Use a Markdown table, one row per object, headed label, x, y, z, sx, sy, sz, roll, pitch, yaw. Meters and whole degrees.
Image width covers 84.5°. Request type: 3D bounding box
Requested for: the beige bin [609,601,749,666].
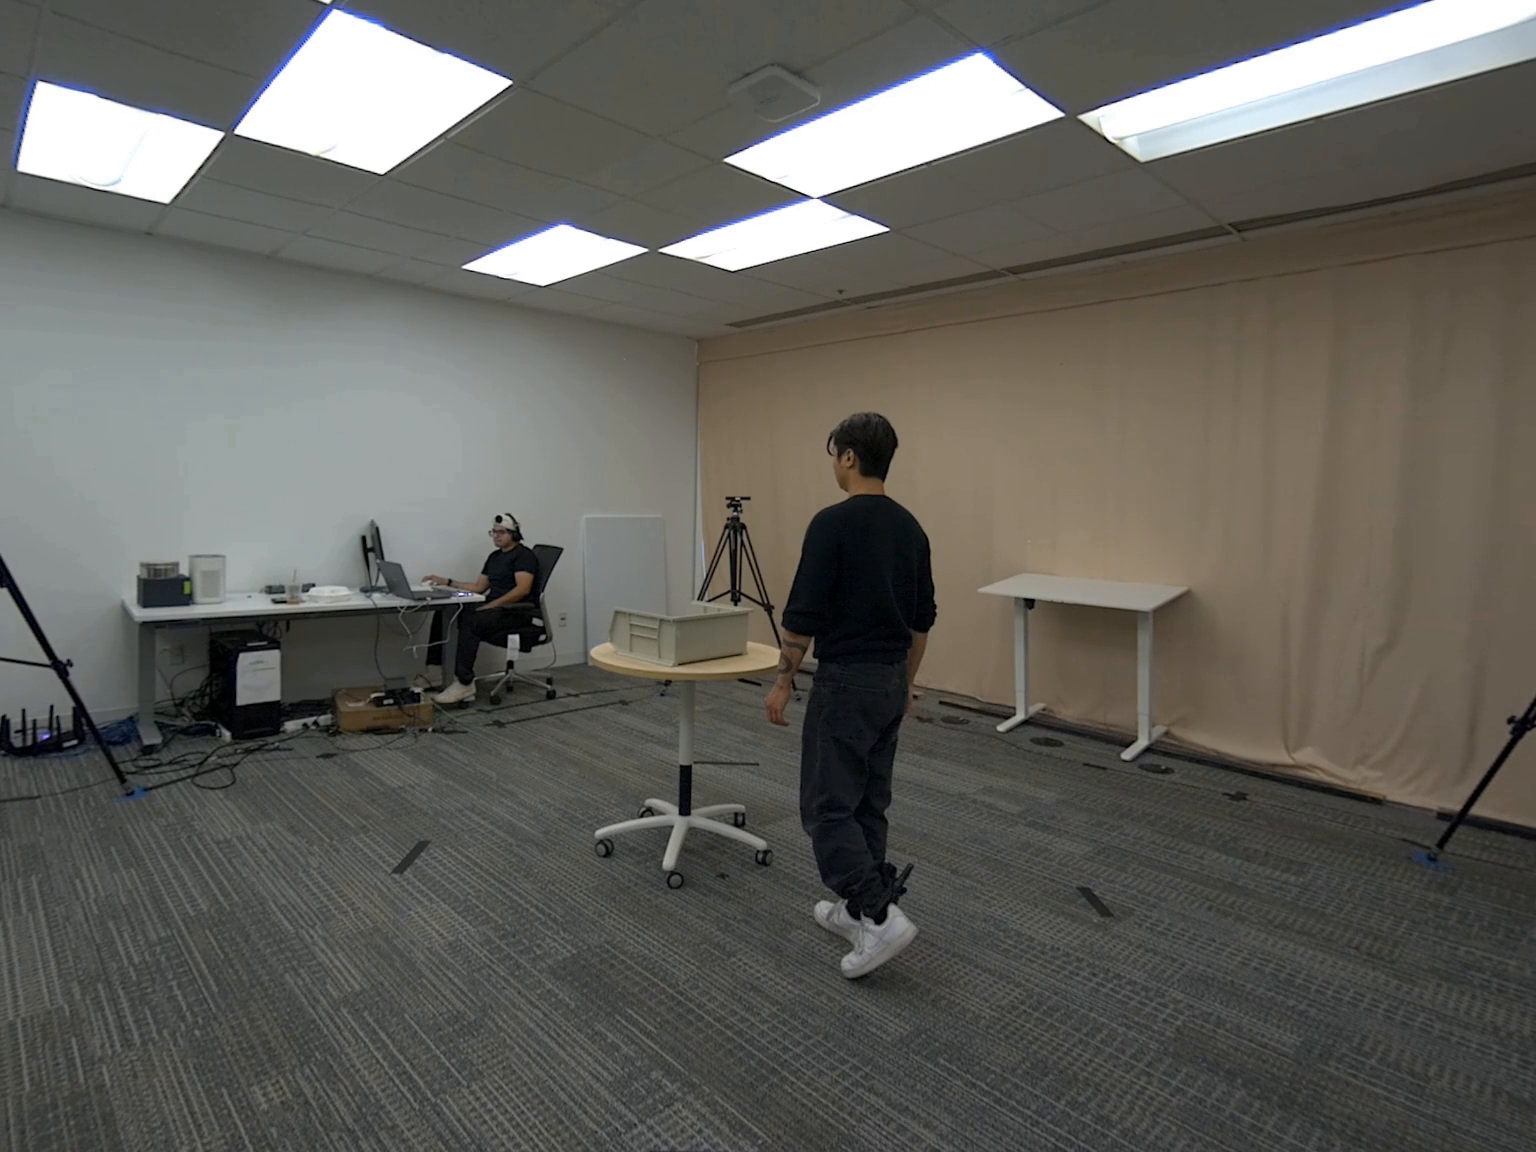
| label | x | y | z | sx | sy | sz | roll | pitch | yaw |
| --- | --- | --- | --- | --- | --- | --- | --- | --- | --- |
| beige bin | -0.342 | 0.214 | 3.261 | 0.387 | 0.188 | 0.413 | 8 | 7 | 41 |
